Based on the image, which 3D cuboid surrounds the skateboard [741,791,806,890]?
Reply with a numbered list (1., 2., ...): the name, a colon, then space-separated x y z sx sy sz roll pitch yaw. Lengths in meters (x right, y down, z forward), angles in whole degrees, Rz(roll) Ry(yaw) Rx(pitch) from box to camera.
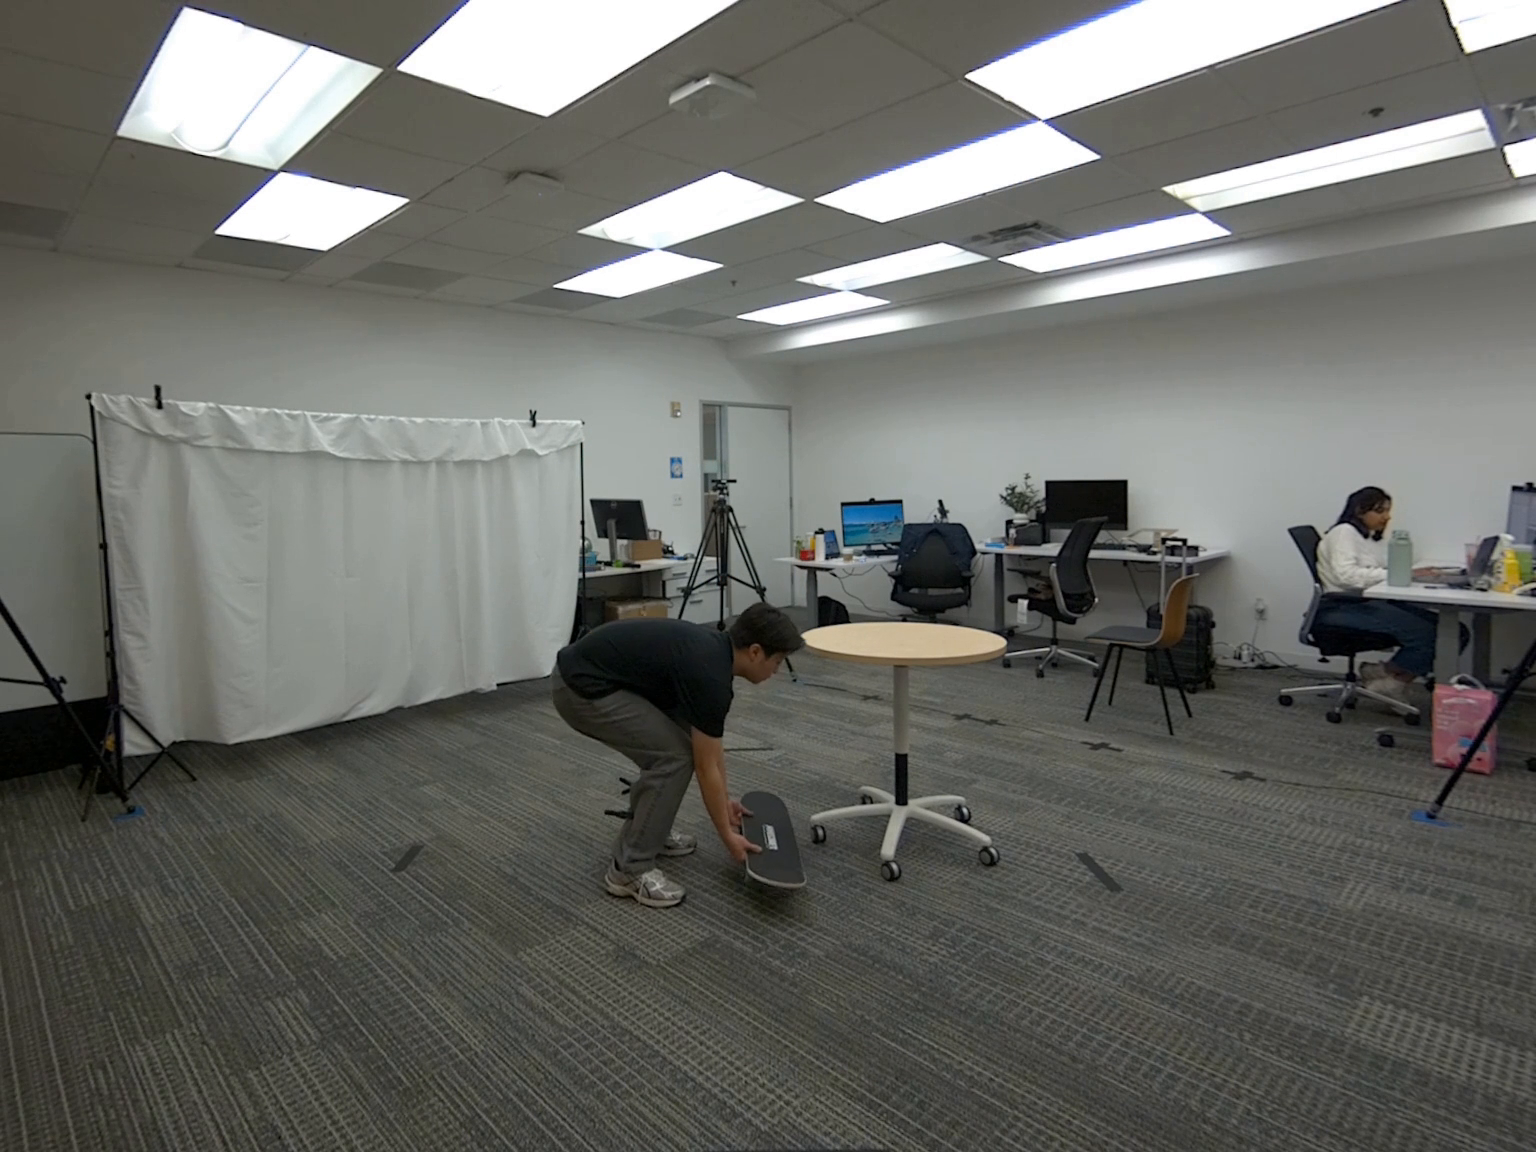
1. skateboard: 0.004 0.942 3.050 0.193 0.110 0.791 7 5 -5
